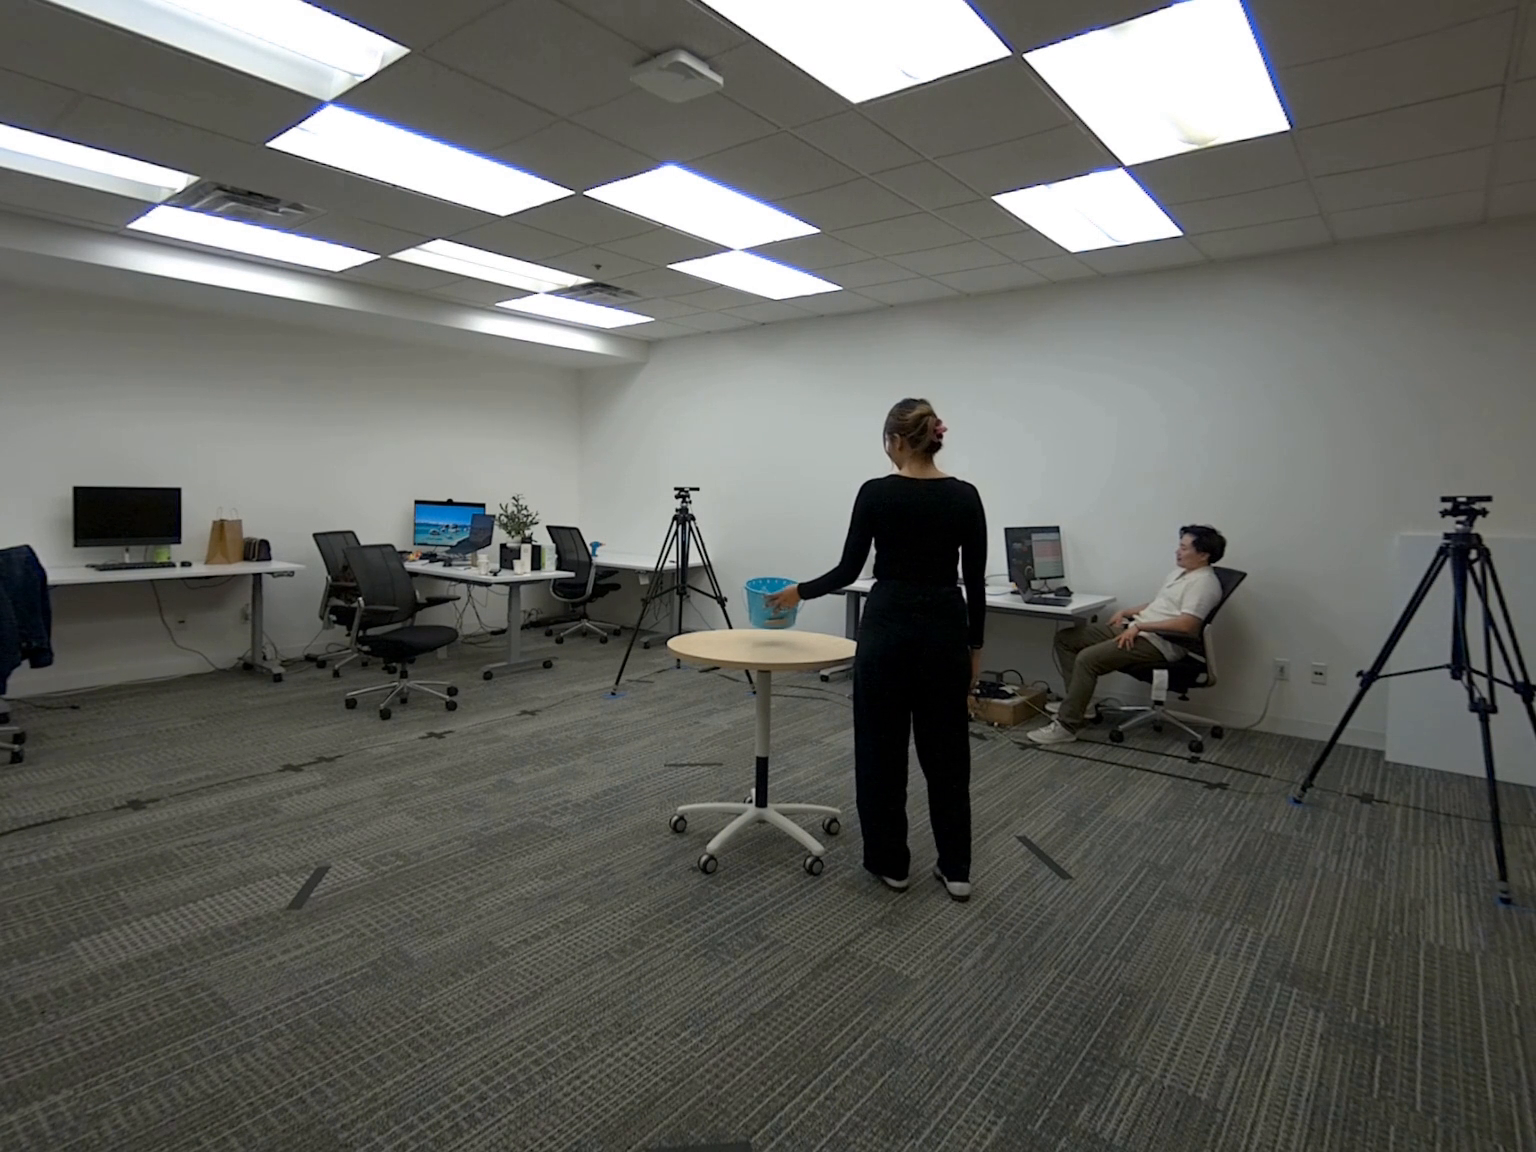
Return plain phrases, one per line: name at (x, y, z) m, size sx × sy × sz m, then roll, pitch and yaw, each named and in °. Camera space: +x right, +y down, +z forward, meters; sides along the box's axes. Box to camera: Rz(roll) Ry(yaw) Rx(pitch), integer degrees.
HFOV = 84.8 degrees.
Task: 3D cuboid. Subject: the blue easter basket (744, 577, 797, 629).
blue easter basket at (0.012, 0.112, 3.341) m, size 0.243 × 0.154 × 0.247 m, roll 1°, pitch 14°, yaw -2°
